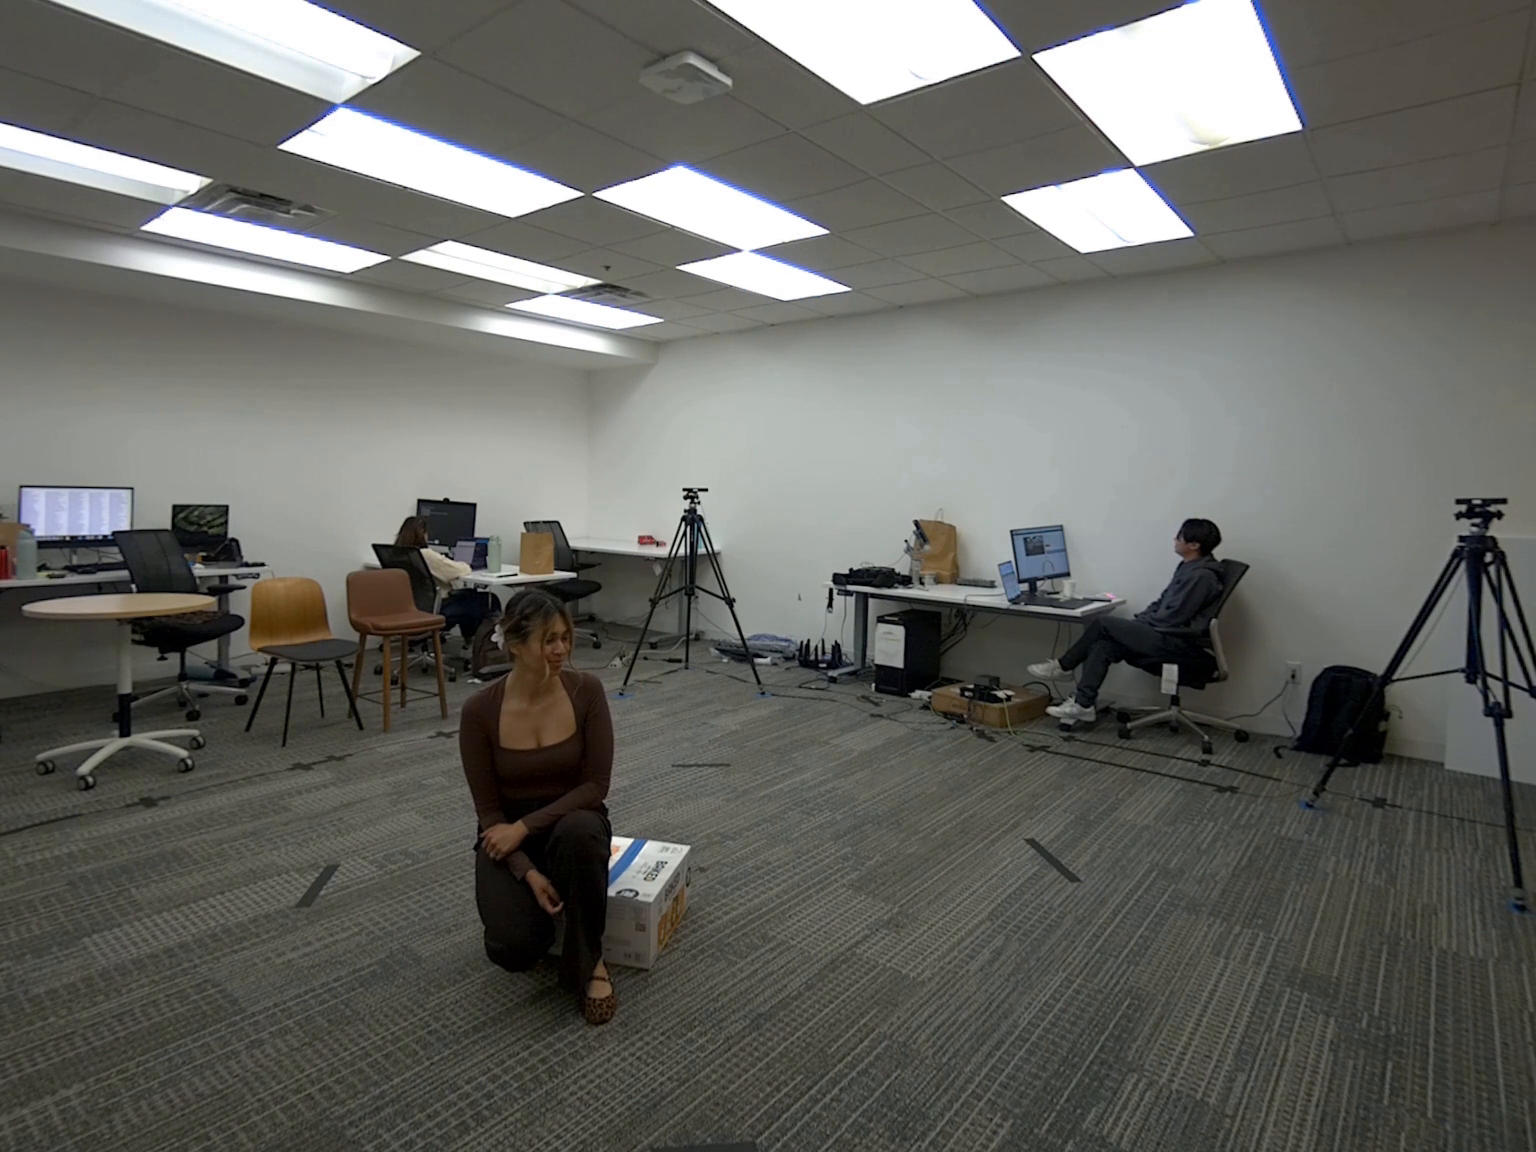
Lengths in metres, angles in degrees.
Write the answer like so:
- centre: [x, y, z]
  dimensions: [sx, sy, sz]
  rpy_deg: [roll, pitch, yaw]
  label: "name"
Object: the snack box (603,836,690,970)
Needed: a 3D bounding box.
- centre: [-0.469, 1.008, 2.670]
  dimensions: [0.346, 0.205, 0.401]
  rpy_deg: [1, 5, 13]
  label: "snack box"
